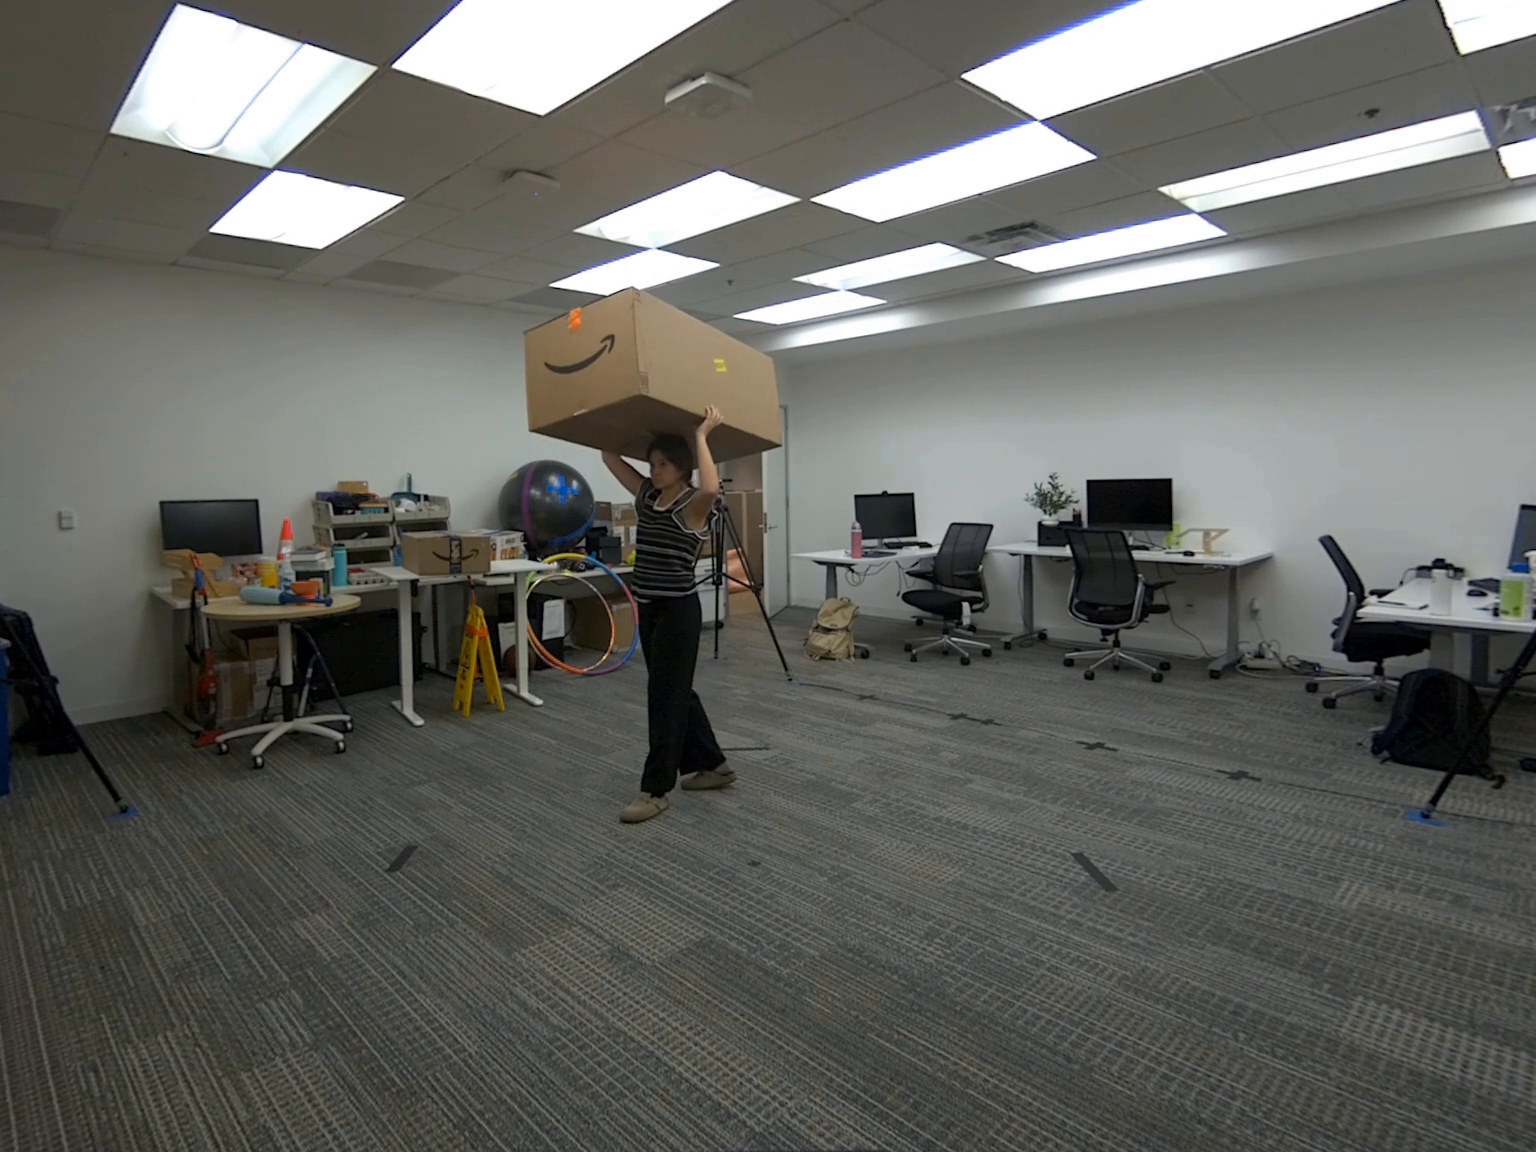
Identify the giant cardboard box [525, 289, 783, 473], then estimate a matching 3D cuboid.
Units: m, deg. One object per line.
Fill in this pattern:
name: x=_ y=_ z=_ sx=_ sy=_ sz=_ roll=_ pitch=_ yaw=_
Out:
giant cardboard box: x=-0.461 y=-0.784 z=3.662 sx=0.589 sy=0.430 sz=0.995 roll=-11 pitch=-10 yaw=31
